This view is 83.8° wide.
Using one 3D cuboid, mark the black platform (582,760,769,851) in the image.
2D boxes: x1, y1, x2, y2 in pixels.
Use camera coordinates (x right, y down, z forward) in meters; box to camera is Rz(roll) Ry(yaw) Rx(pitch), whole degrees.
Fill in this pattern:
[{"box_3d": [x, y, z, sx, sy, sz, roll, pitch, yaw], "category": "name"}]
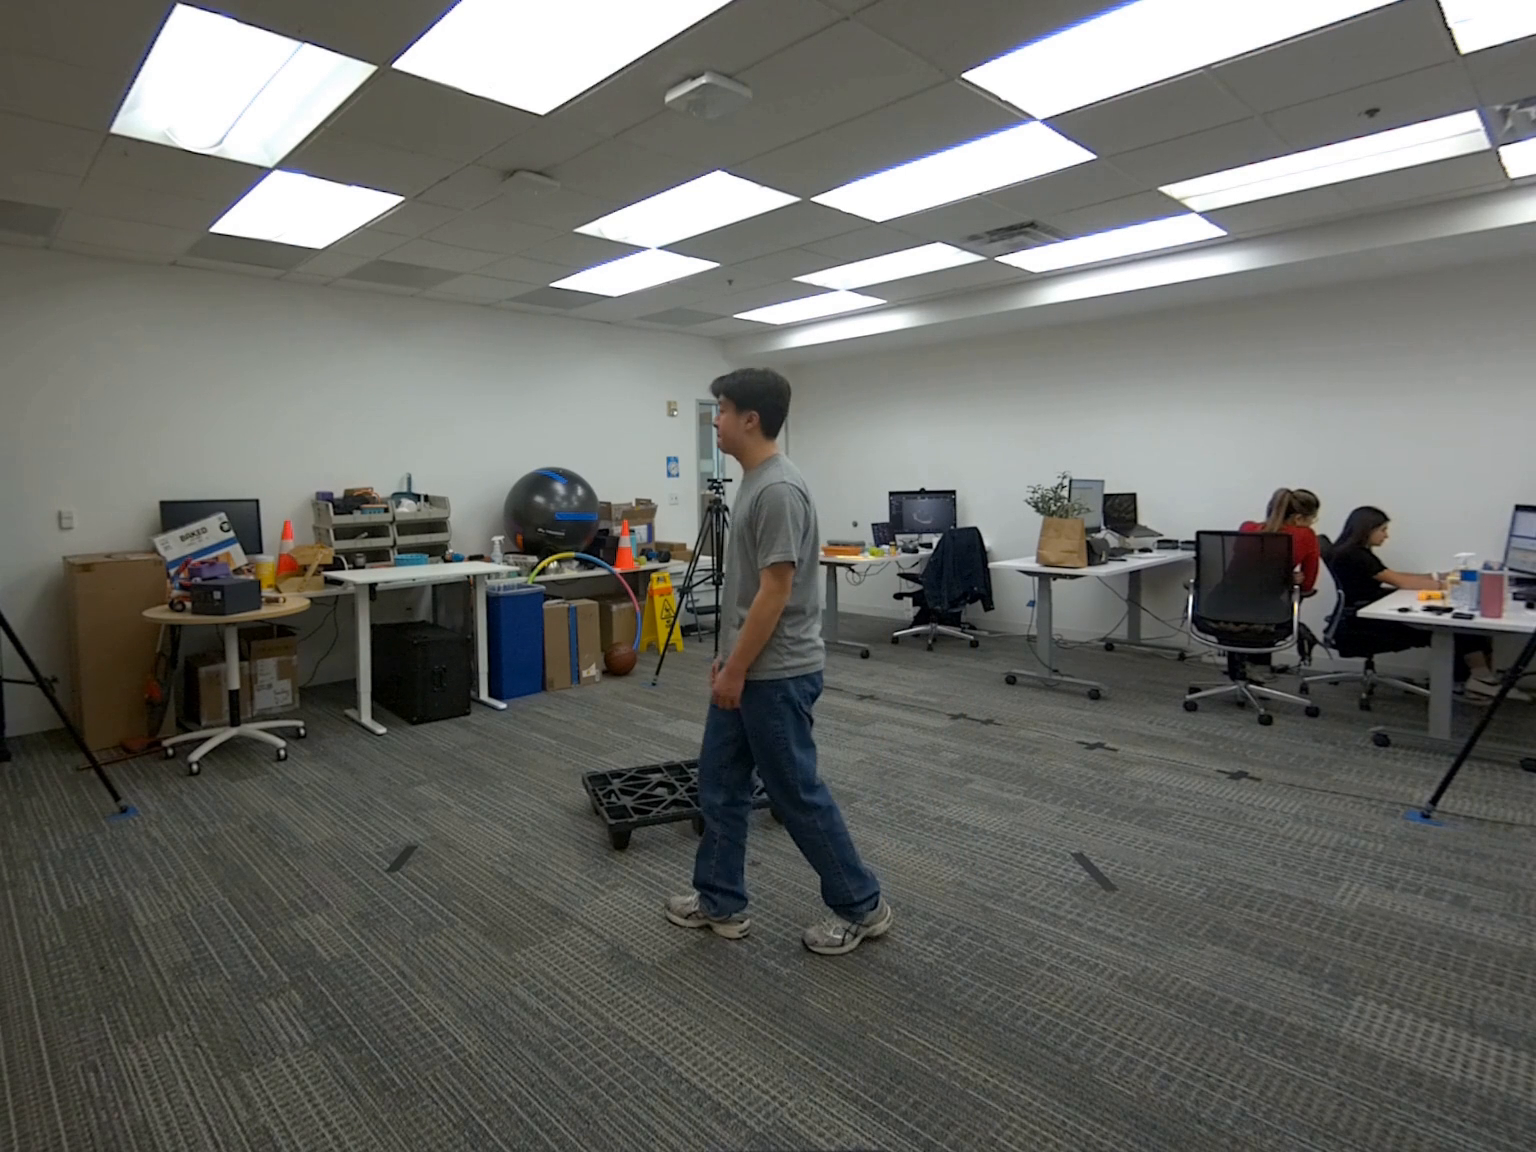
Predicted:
[{"box_3d": [-0.322, 0.930, 3.562, 0.792, 0.142, 0.619, -4, 7, -20], "category": "black platform"}]
